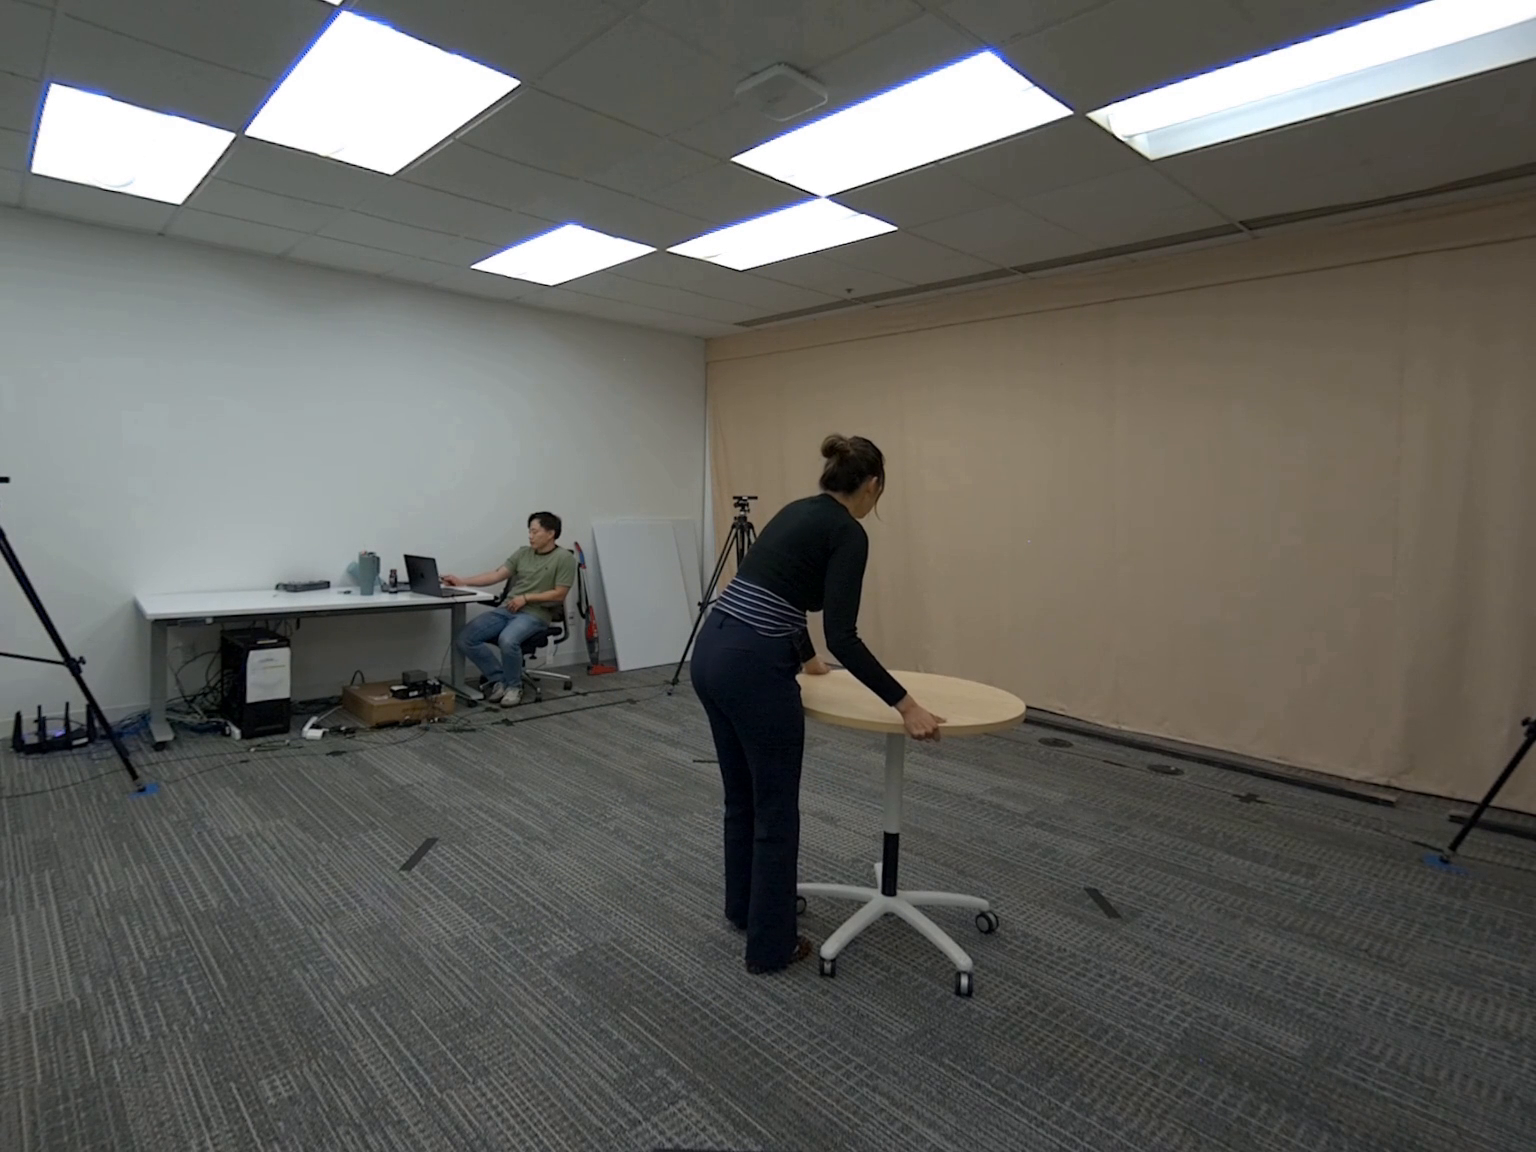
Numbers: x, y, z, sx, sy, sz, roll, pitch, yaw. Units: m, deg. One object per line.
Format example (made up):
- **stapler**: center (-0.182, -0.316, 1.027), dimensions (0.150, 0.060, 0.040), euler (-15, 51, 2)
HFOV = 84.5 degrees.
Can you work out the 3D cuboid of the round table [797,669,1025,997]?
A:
- **round table**: center (0.385, 0.763, 2.675), dimensions (0.763, 0.792, 0.766), euler (2, 4, -1)
